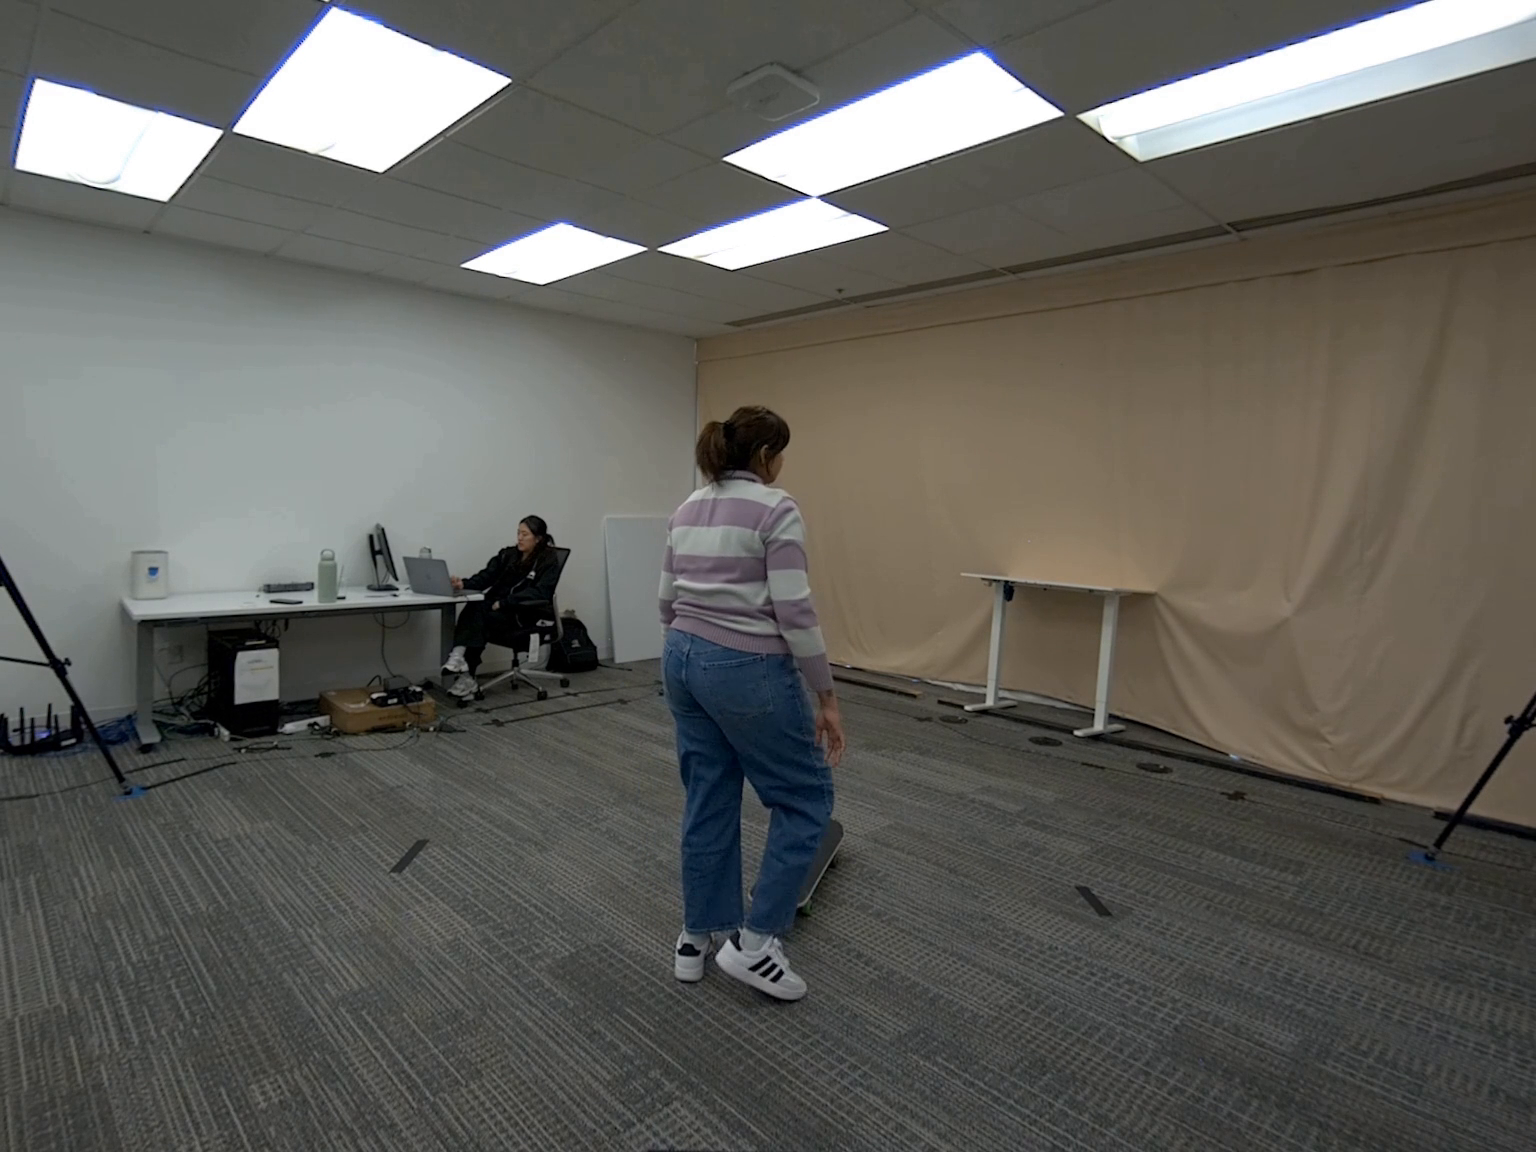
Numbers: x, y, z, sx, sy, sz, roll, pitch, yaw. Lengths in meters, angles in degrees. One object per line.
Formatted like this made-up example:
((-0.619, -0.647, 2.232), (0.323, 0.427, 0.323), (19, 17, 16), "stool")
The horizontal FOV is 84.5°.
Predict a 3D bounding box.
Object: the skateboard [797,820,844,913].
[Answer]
((0.113, 1.060, 3.031), (0.196, 0.110, 0.776), (2, 5, 17), "skateboard")
